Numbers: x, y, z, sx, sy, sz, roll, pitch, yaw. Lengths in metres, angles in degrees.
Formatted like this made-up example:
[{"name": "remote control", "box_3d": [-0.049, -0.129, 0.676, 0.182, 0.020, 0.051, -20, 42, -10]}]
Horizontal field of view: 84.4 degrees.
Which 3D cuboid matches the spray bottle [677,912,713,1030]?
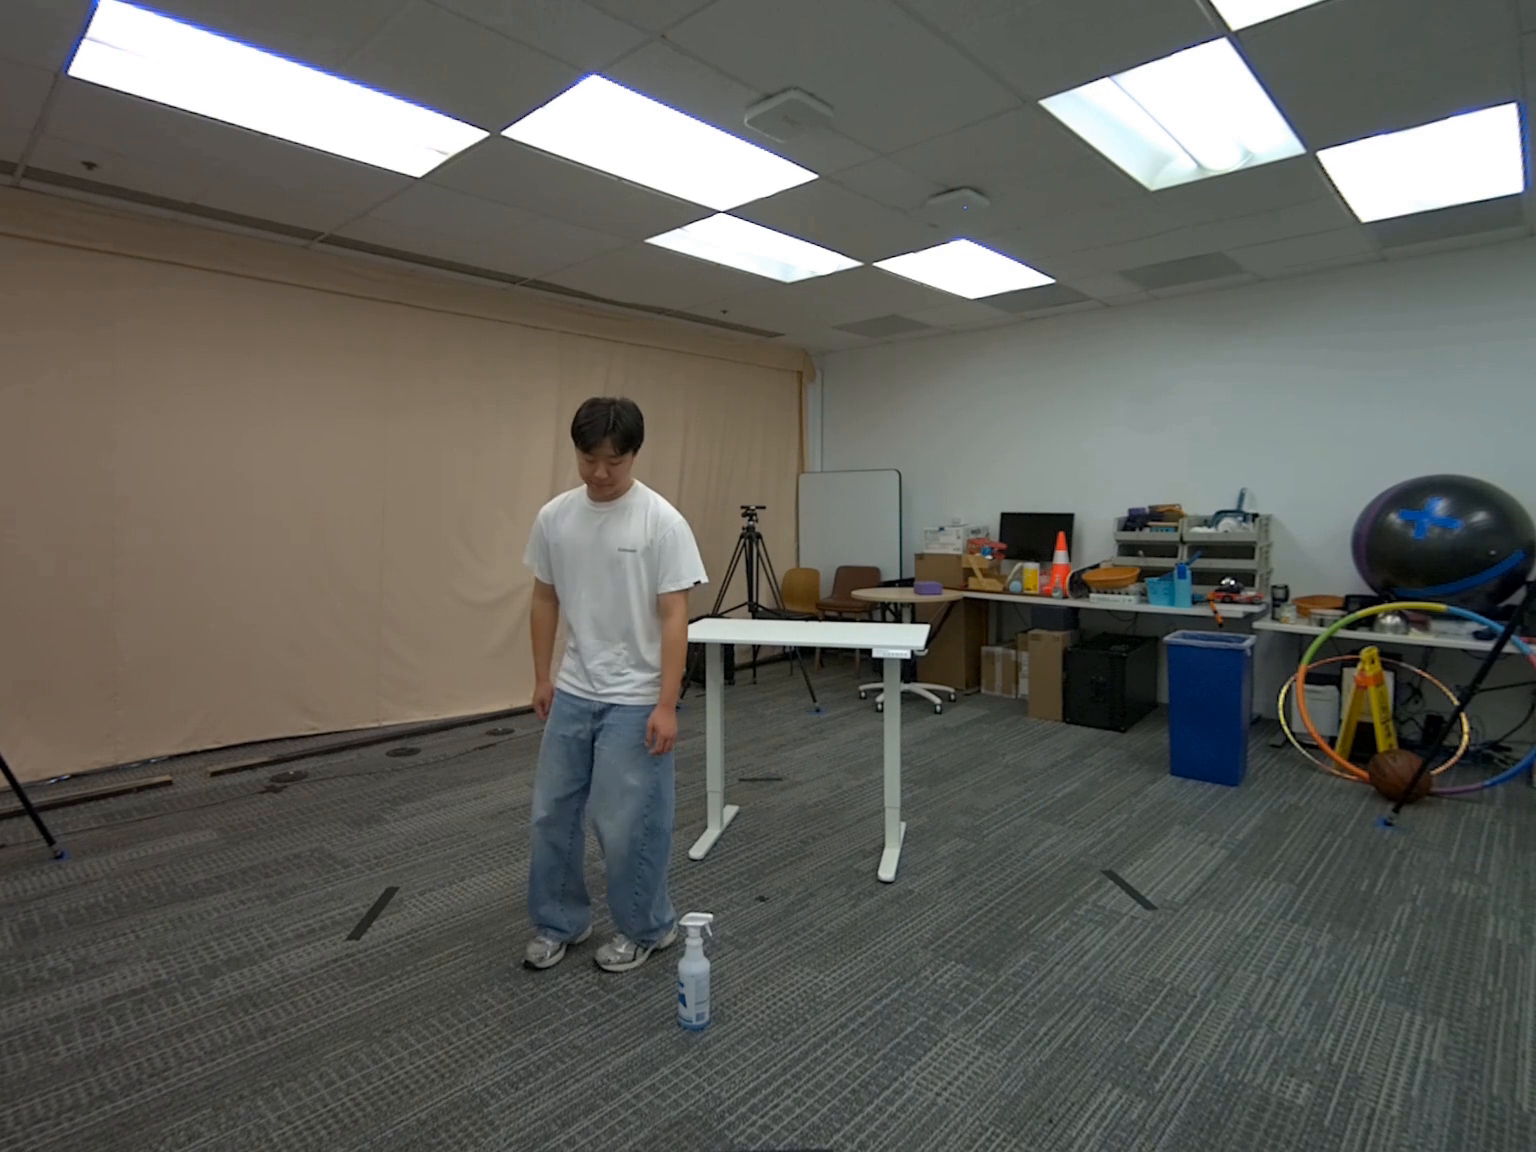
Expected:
[{"name": "spray bottle", "box_3d": [-0.192, 1.055, 2.273, 0.093, 0.297, 0.084, 3, 1, 33]}]
